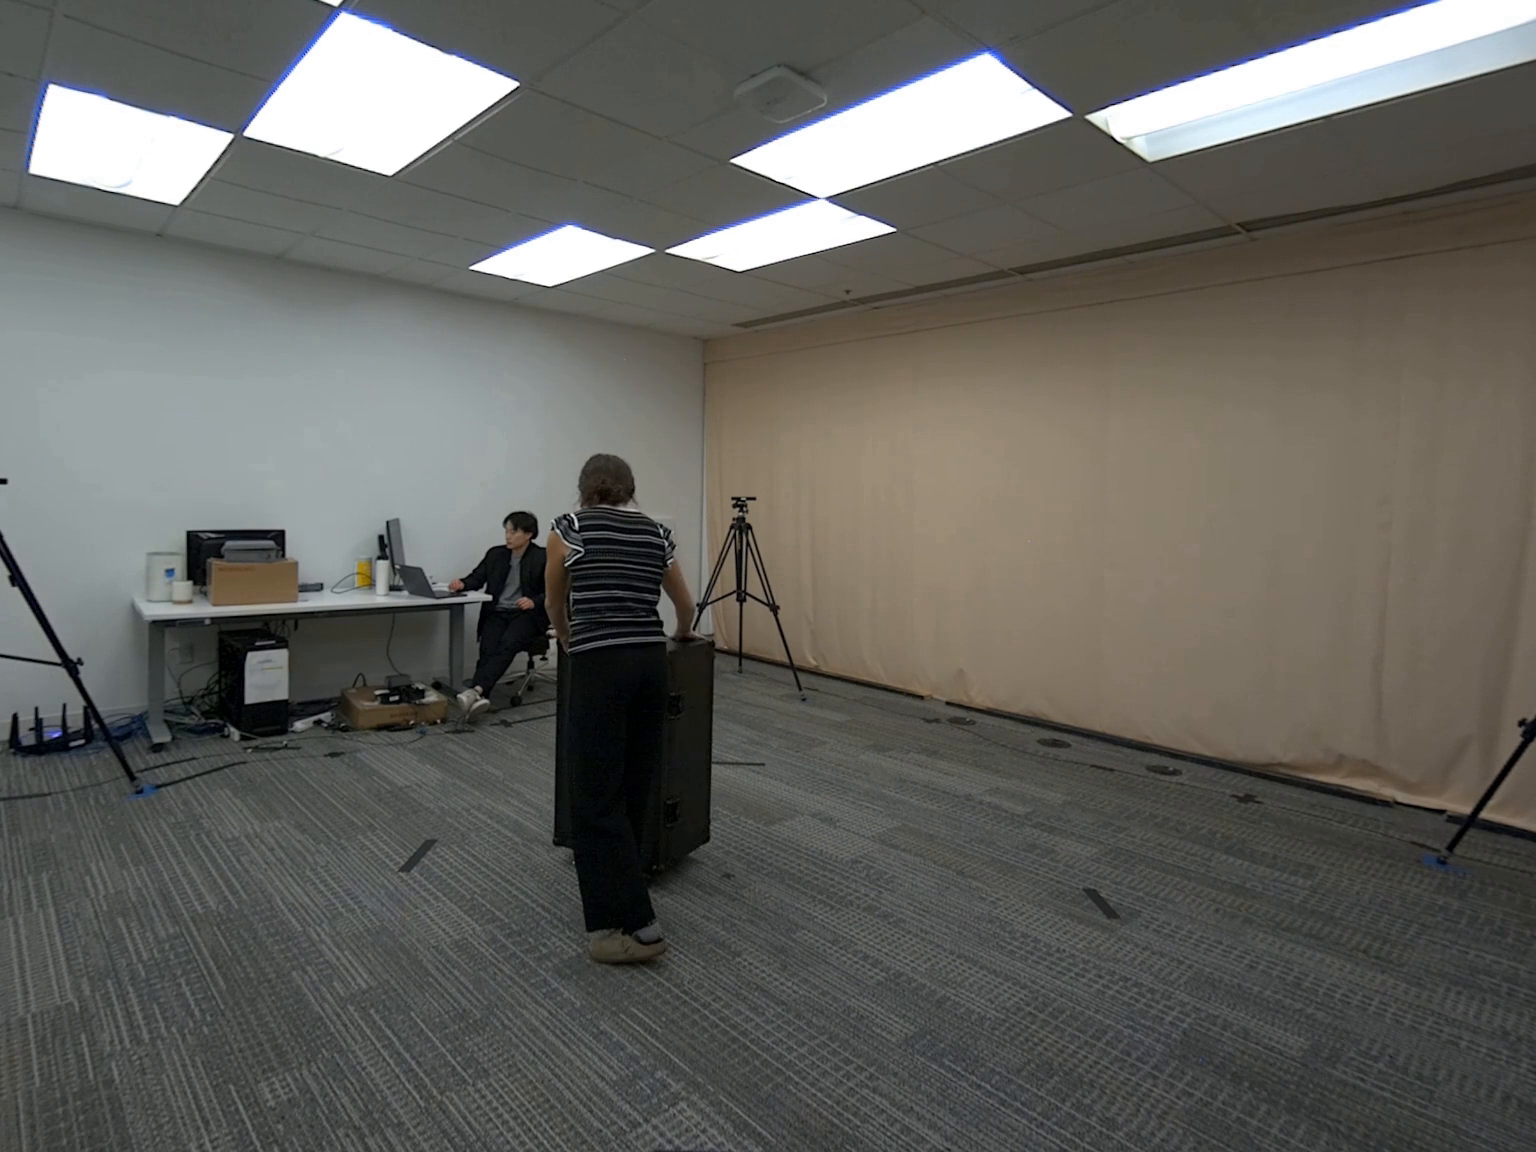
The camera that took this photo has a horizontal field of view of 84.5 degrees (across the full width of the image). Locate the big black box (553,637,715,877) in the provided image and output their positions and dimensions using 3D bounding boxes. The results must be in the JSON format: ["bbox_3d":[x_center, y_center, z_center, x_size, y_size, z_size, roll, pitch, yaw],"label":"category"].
[{"bbox_3d":[-0.515,0.665,3.202,0.532,0.860,0.388,3,2,28],"label":"big black box"}]
